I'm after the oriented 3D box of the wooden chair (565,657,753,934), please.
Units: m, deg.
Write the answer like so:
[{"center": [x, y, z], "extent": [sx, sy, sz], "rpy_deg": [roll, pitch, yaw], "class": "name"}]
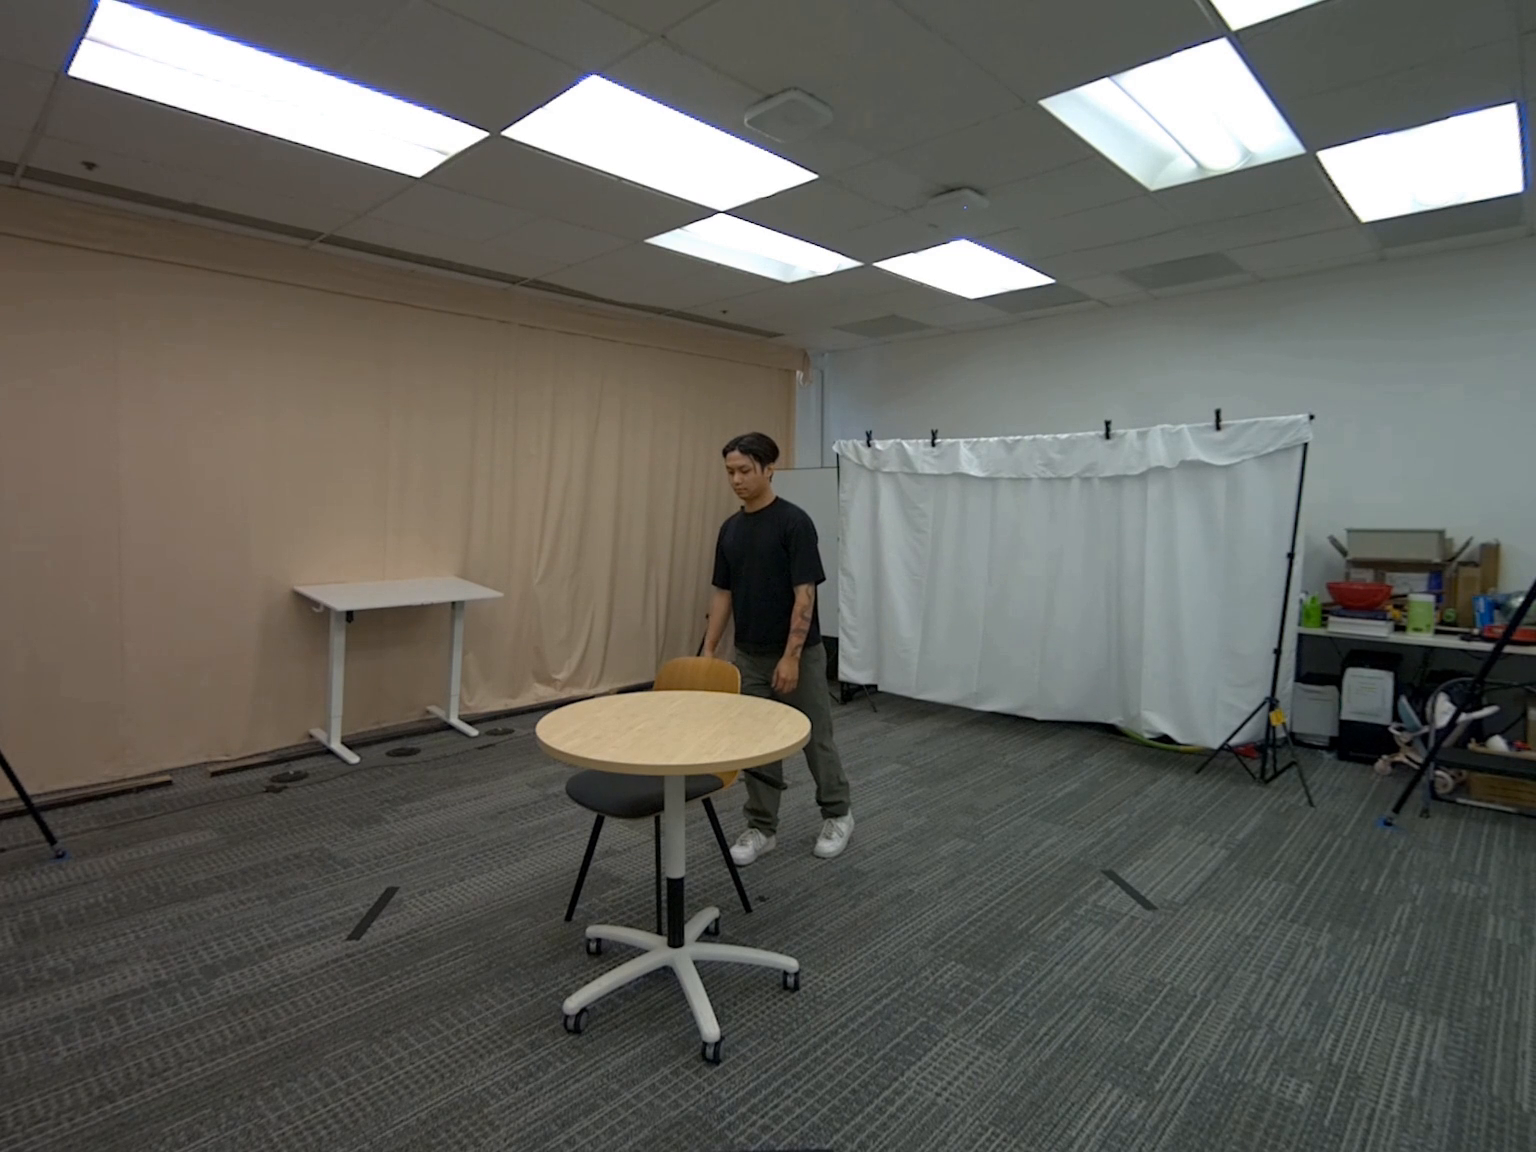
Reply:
[{"center": [-0.373, 0.730, 2.821], "extent": [0.493, 0.878, 0.506], "rpy_deg": [2, -1, 39], "class": "wooden chair"}]
